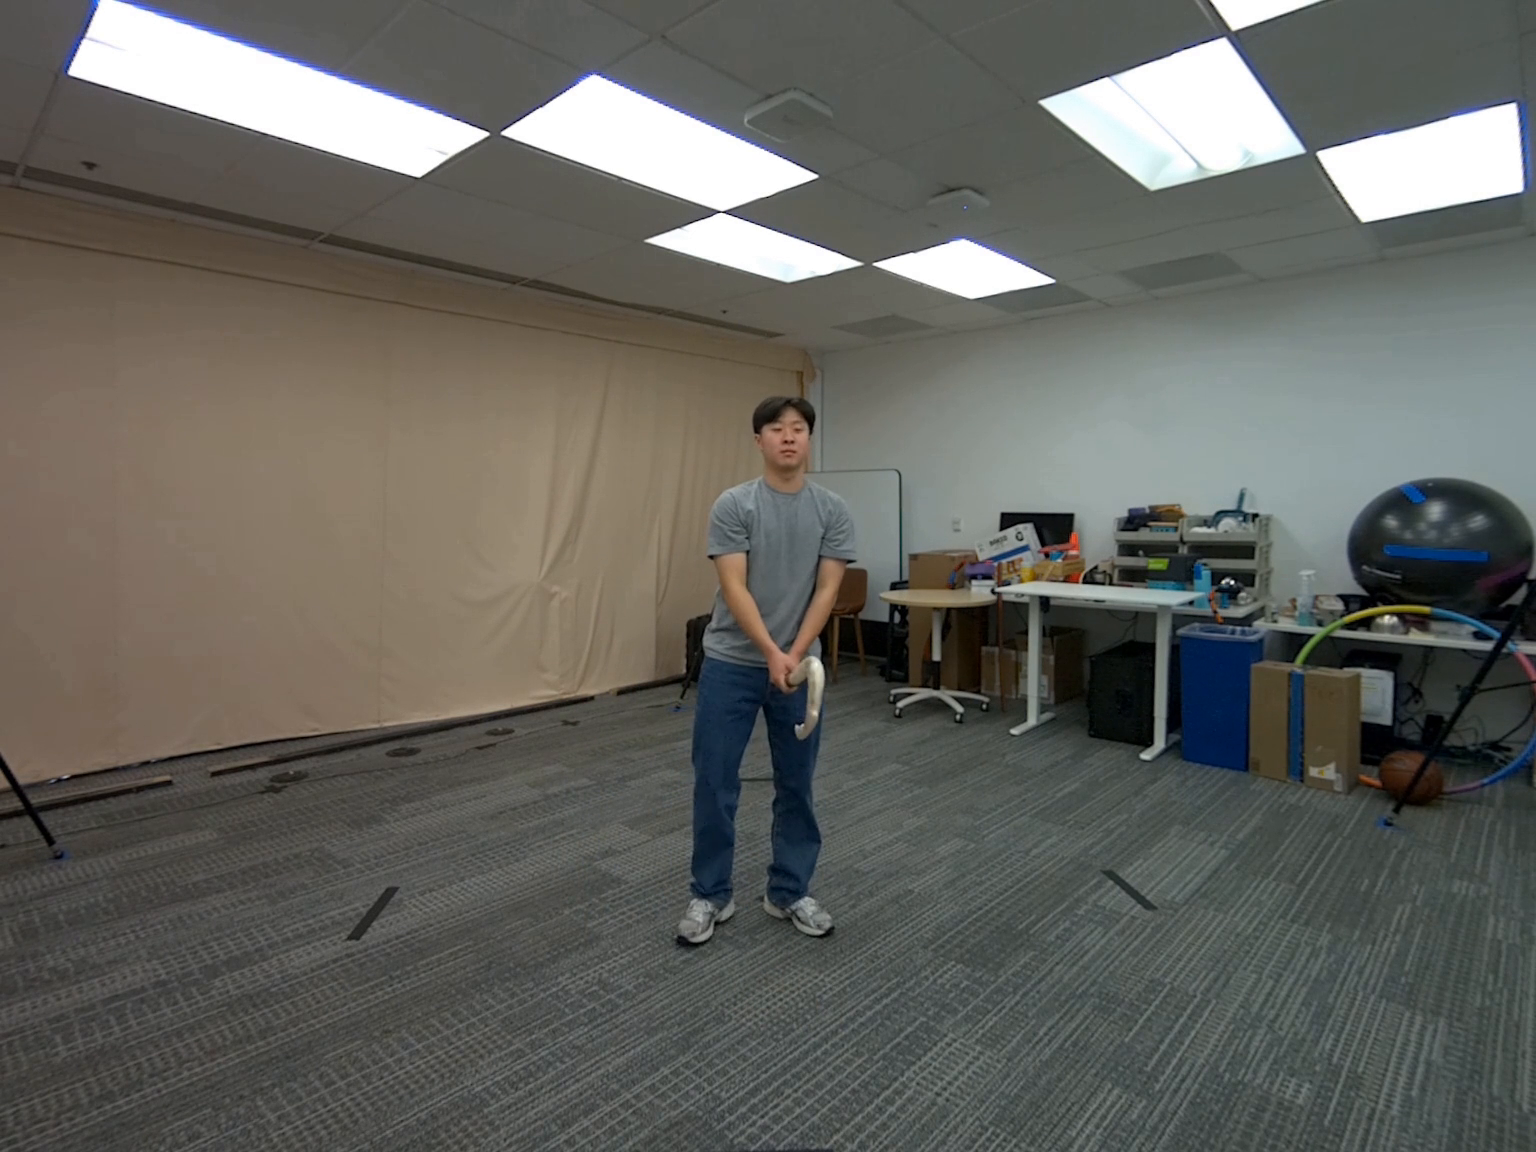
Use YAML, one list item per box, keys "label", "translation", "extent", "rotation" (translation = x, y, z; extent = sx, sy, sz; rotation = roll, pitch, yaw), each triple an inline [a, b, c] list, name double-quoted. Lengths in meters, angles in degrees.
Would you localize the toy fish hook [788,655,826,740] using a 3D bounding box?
- label: "toy fish hook"
  translation: [0.082, 0.357, 2.427]
  extent: [0.048, 0.225, 0.509]
  rotation: [9, -7, -9]
